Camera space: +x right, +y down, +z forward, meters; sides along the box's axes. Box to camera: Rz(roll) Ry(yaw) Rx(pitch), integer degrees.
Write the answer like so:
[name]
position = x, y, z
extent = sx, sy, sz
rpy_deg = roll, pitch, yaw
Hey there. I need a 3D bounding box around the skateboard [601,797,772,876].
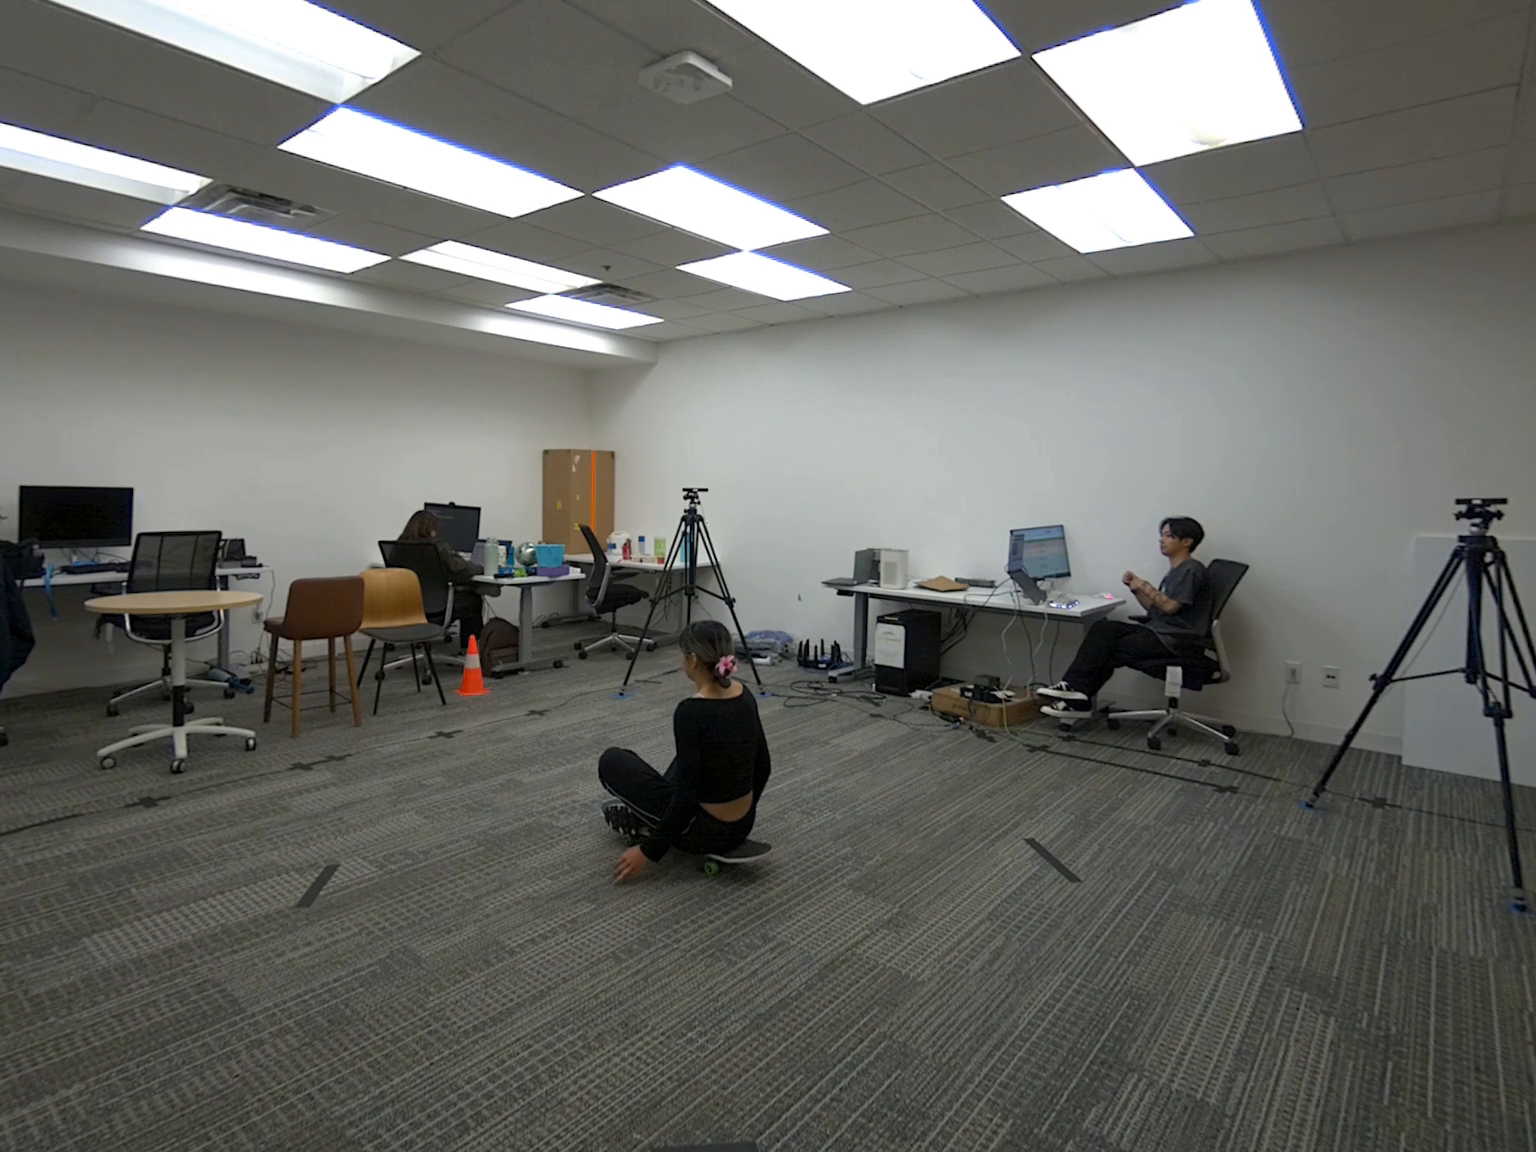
[skateboard]
position = -0.349, 1.000, 3.244
extent = 0.811, 0.110, 0.188
rpy_deg = 6, 7, 34
